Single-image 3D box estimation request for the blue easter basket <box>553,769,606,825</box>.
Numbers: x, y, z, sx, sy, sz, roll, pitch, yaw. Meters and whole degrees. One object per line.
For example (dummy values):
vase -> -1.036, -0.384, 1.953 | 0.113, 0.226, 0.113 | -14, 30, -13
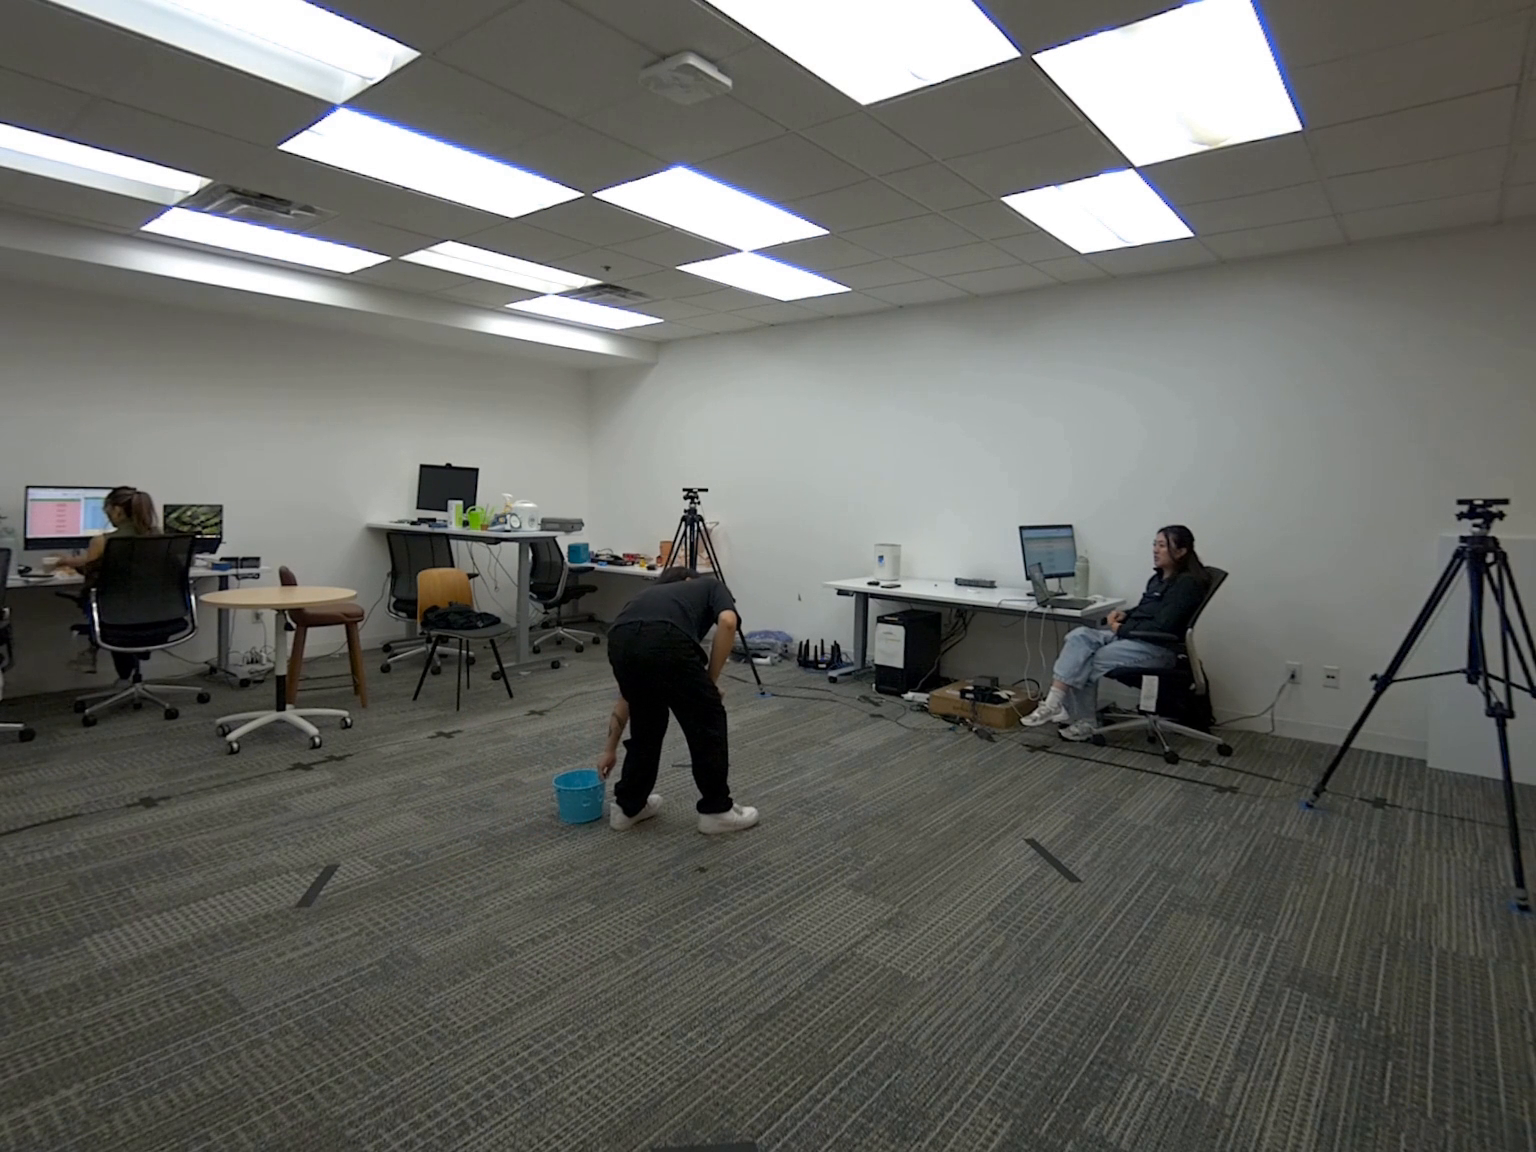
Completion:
blue easter basket -> -0.806, 0.932, 3.604 | 0.243, 0.155, 0.245 | -3, 6, -2
